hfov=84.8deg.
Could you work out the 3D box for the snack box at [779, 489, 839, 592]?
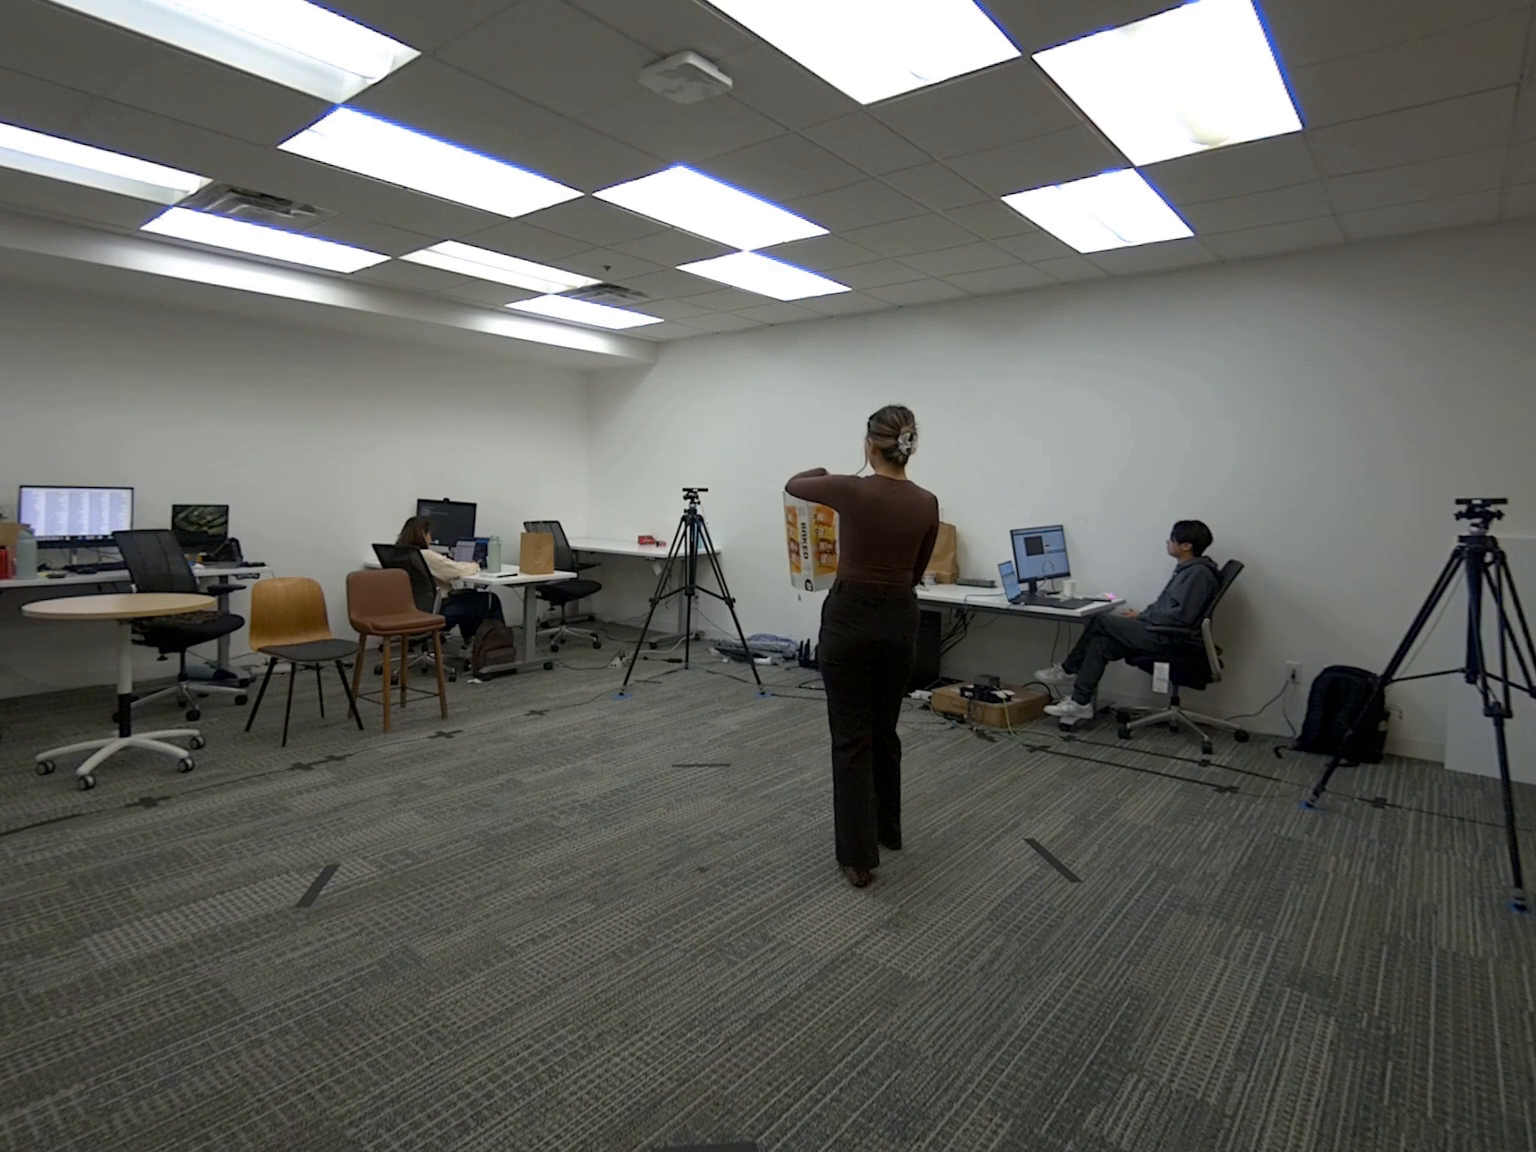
[{"bbox_3d":[0.263,-0.176,3.523,0.333,0.402,0.211,-8,7,-26],"label":"snack box"}]
